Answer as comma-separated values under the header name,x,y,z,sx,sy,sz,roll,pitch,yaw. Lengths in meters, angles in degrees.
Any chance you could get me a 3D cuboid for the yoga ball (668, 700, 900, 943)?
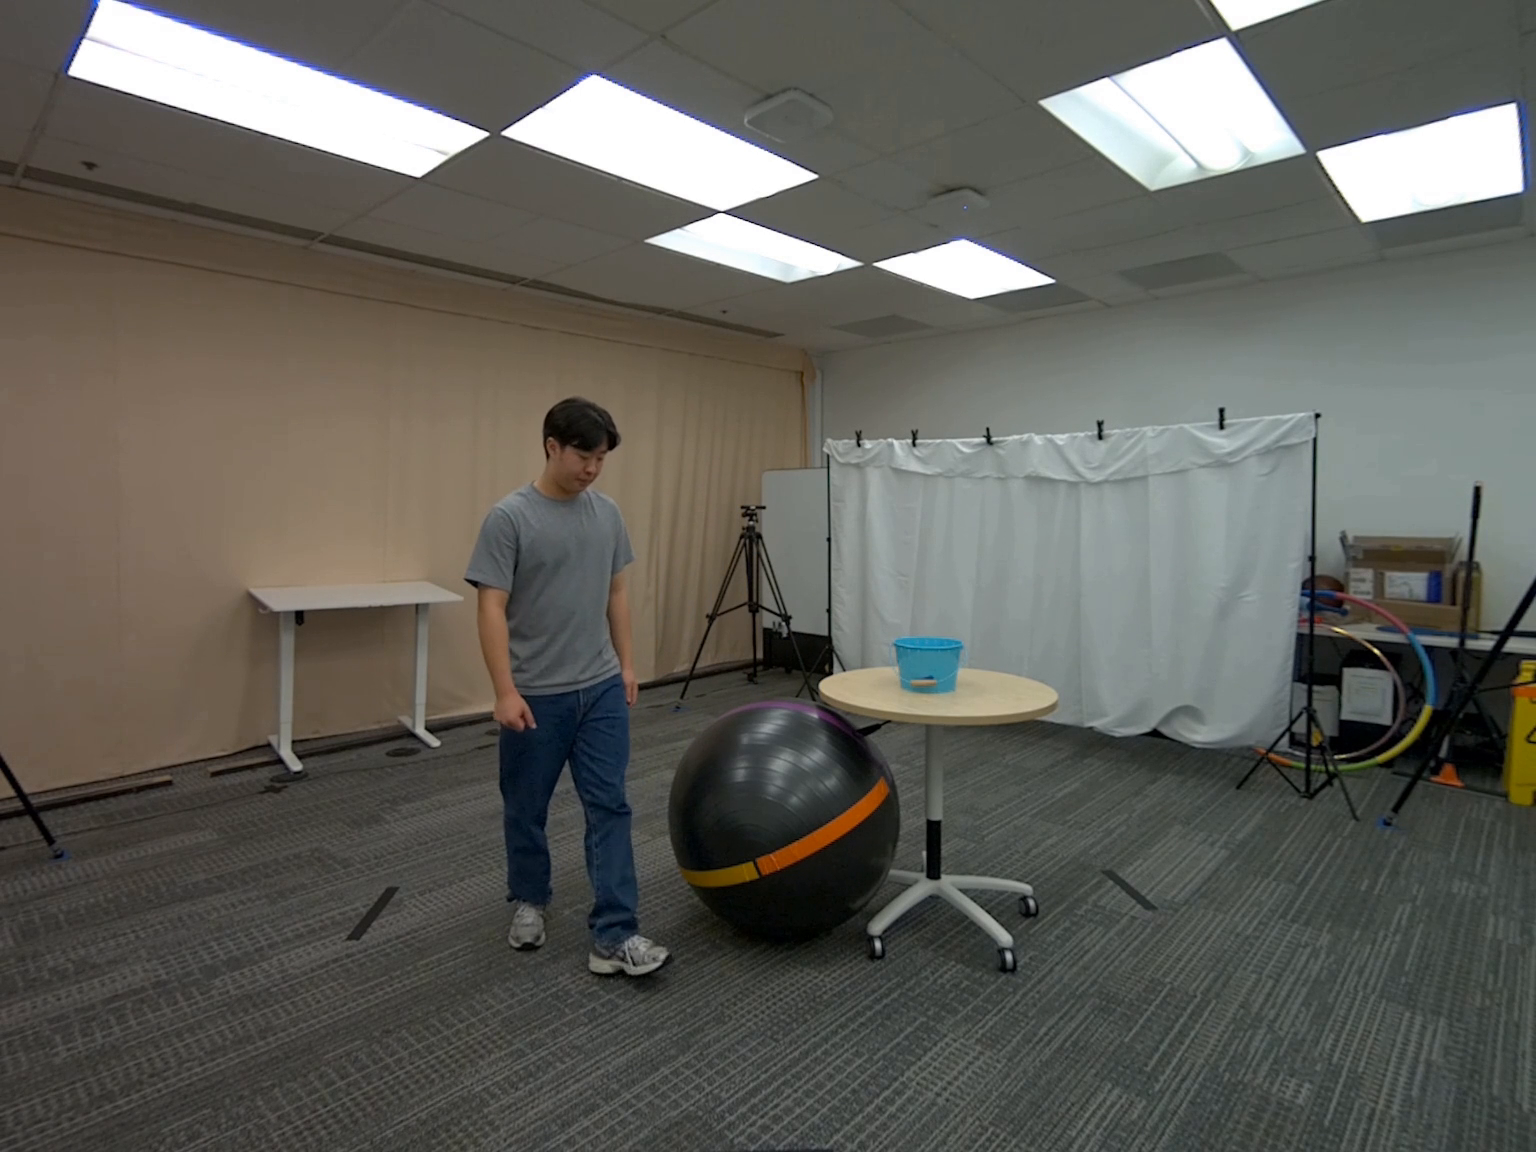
name,x,y,z,sx,sy,sz,roll,pitch,yaw
yoga ball,0.050,0.788,2.781,0.757,0.756,0.760,0,4,-2
